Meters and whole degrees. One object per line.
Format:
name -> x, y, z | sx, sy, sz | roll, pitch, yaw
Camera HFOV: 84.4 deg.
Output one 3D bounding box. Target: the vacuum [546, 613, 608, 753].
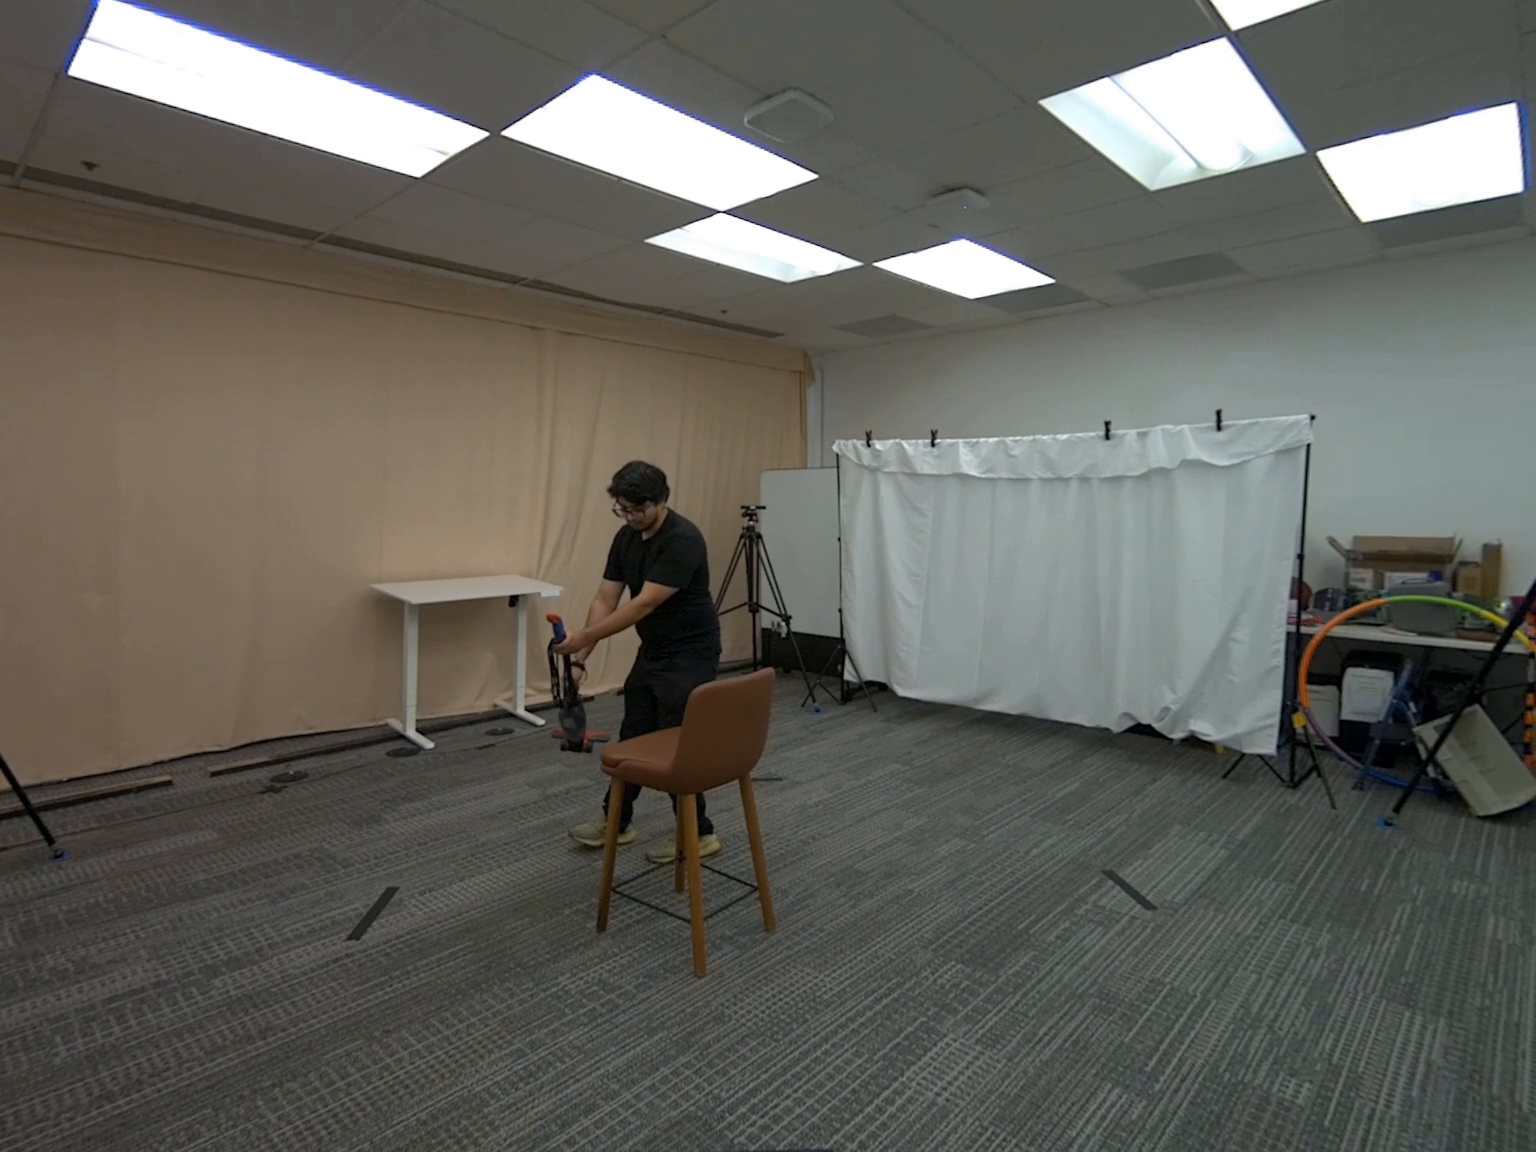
vacuum -> -0.773, 0.431, 3.221 | 0.253, 0.146, 1.035 | 10, -37, 0
